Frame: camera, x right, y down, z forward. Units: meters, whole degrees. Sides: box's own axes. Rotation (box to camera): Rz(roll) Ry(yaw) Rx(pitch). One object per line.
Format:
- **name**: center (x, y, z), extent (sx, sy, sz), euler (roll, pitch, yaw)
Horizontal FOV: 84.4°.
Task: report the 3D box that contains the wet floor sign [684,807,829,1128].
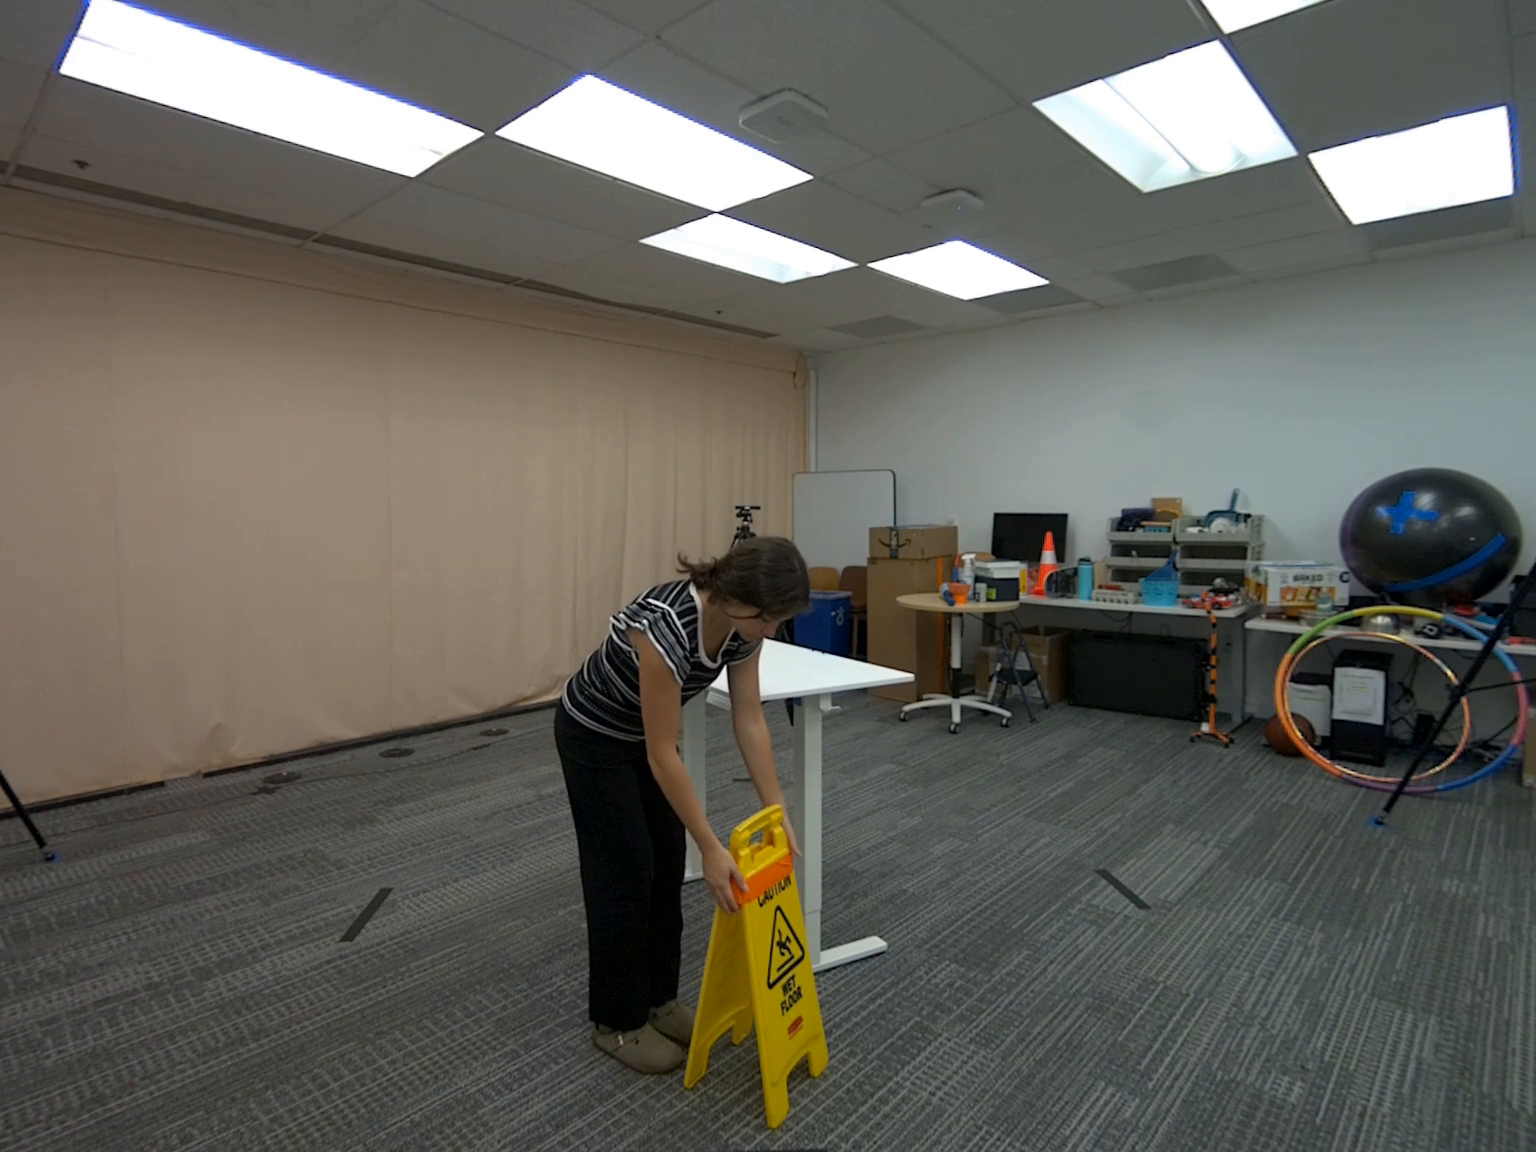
- **wet floor sign**: center (-0.026, 0.906, 2.025), extent (0.298, 0.645, 0.274), euler (1, 3, 32)
